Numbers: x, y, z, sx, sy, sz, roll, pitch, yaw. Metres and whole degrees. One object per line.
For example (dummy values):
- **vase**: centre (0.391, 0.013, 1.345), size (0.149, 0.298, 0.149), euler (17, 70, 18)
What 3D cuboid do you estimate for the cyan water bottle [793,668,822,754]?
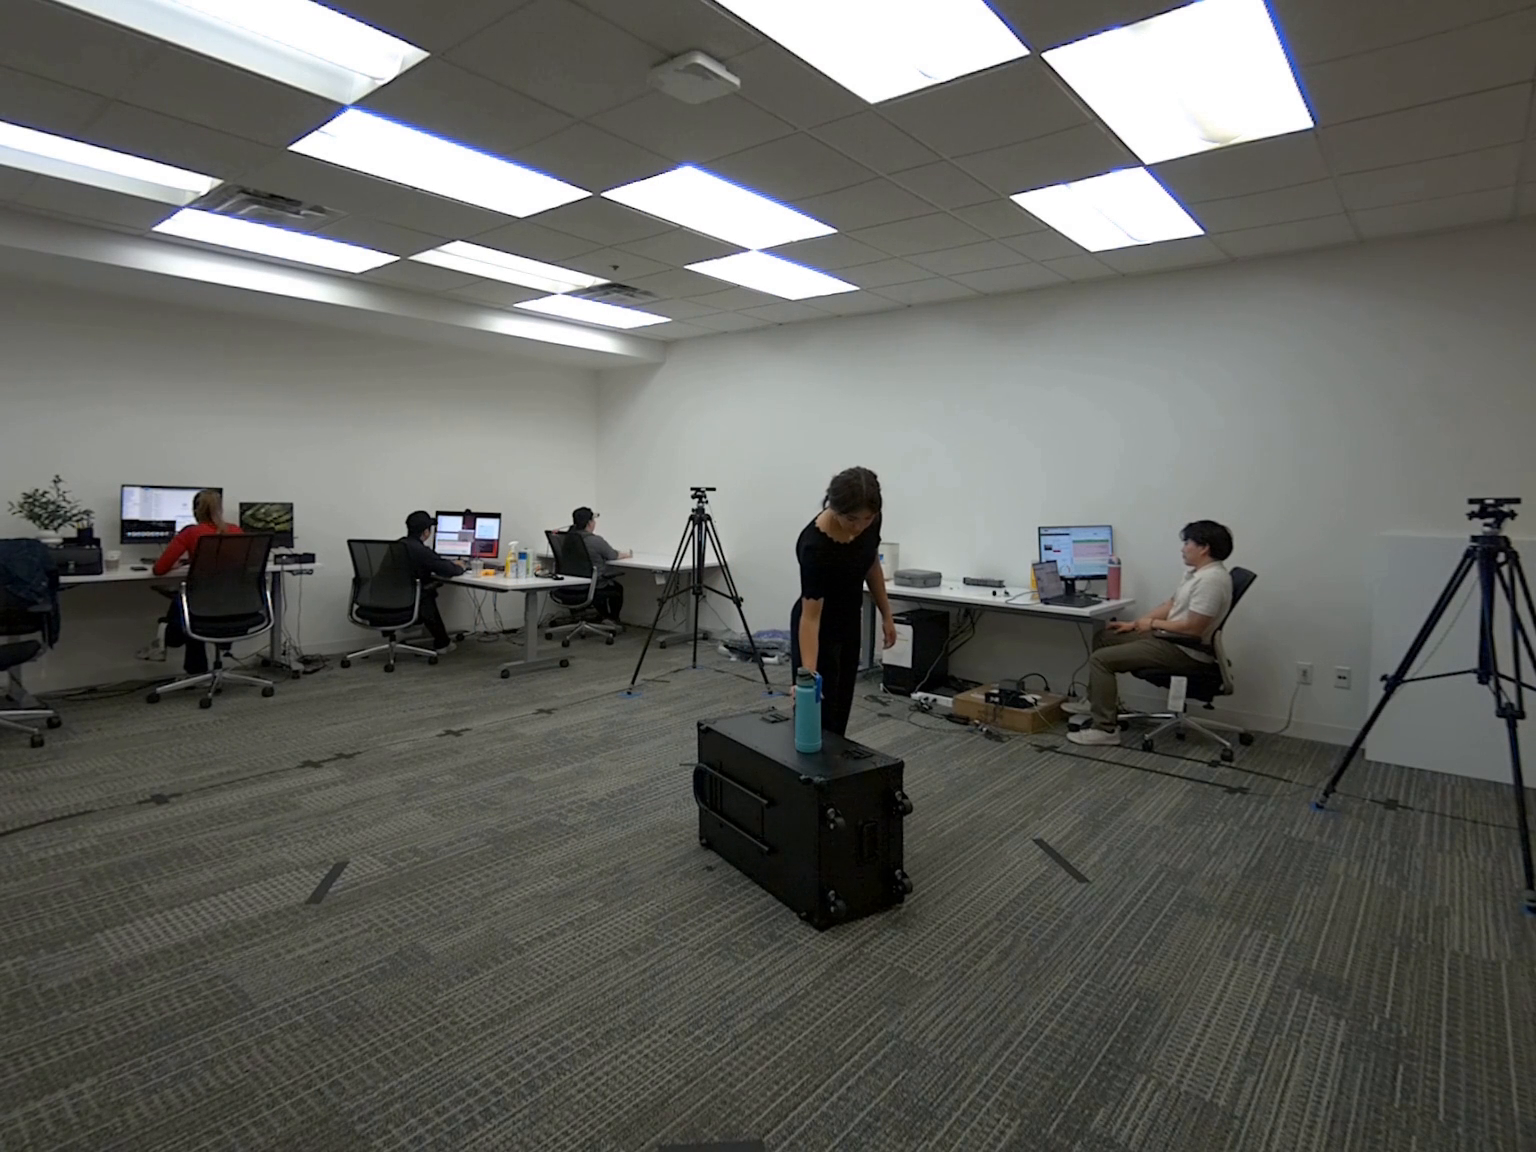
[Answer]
- **cyan water bottle**: centre (0.133, 0.460, 2.949), size (0.092, 0.281, 0.093), euler (1, 7, -2)
